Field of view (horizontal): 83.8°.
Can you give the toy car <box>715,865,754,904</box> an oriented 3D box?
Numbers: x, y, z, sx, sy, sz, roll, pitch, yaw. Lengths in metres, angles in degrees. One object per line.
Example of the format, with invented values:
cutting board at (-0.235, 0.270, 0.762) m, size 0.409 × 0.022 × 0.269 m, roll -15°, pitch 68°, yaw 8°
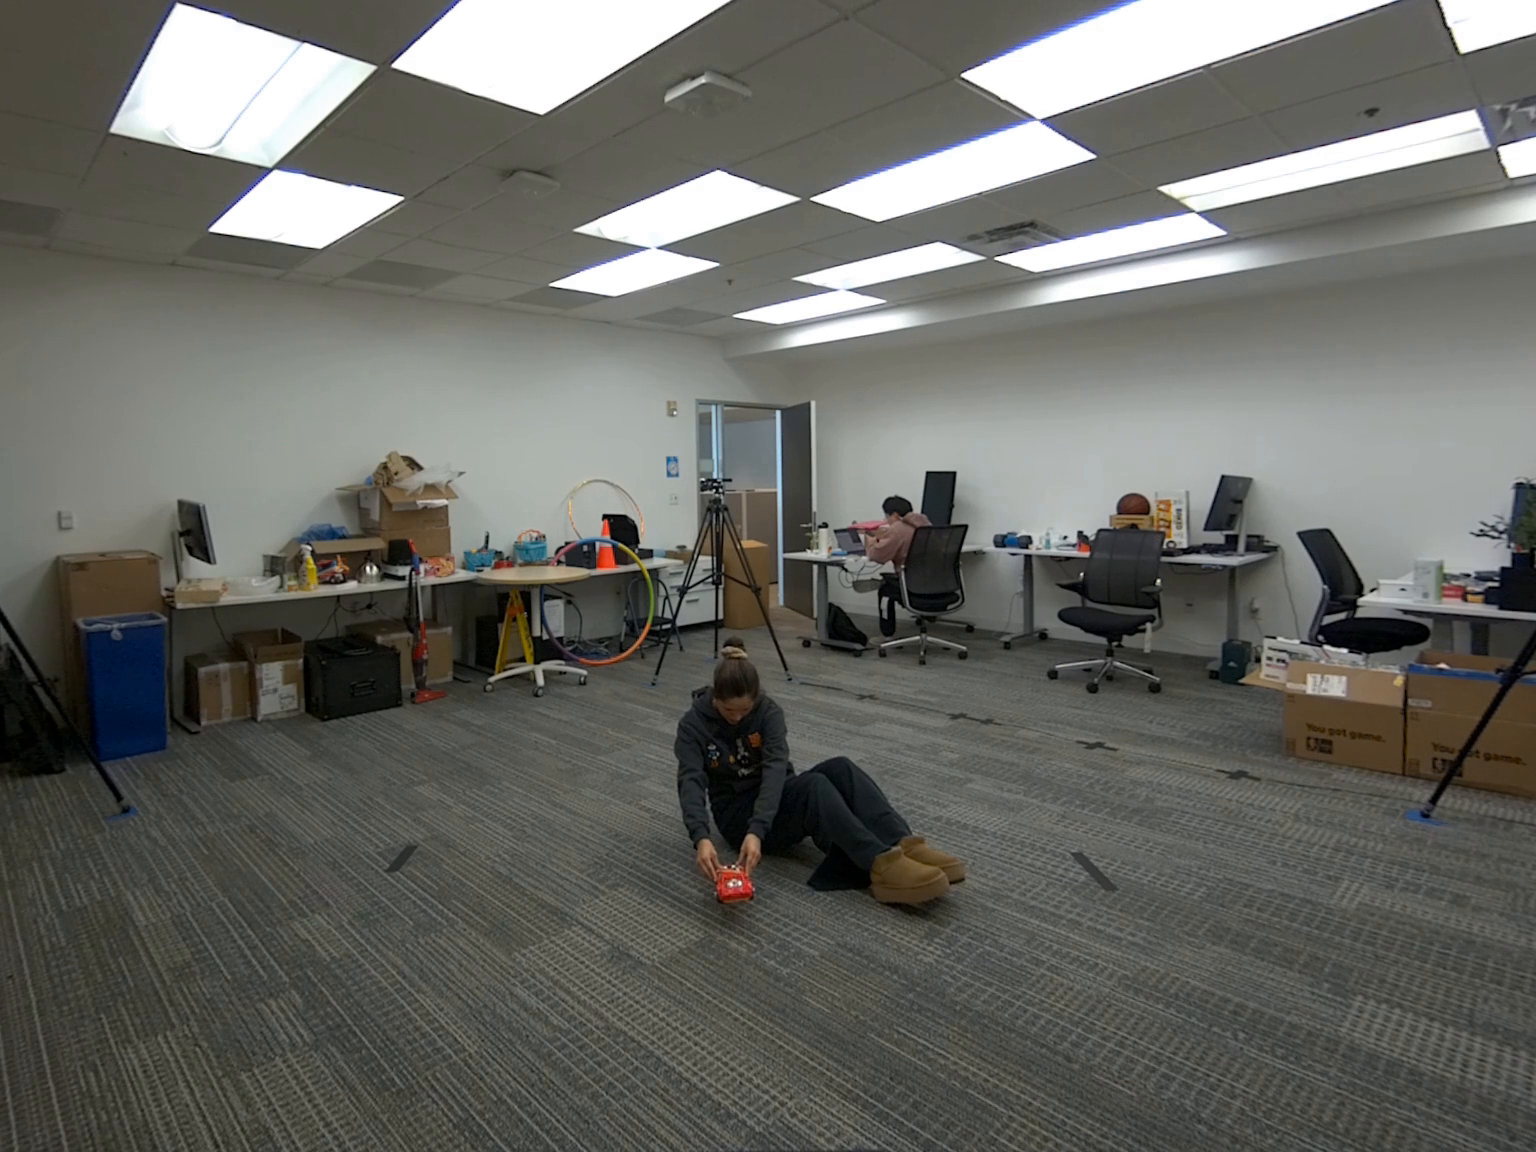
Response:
toy car at (-0.115, 0.991, 2.722) m, size 0.130 × 0.084 × 0.253 m, roll -6°, pitch -8°, yaw -6°
